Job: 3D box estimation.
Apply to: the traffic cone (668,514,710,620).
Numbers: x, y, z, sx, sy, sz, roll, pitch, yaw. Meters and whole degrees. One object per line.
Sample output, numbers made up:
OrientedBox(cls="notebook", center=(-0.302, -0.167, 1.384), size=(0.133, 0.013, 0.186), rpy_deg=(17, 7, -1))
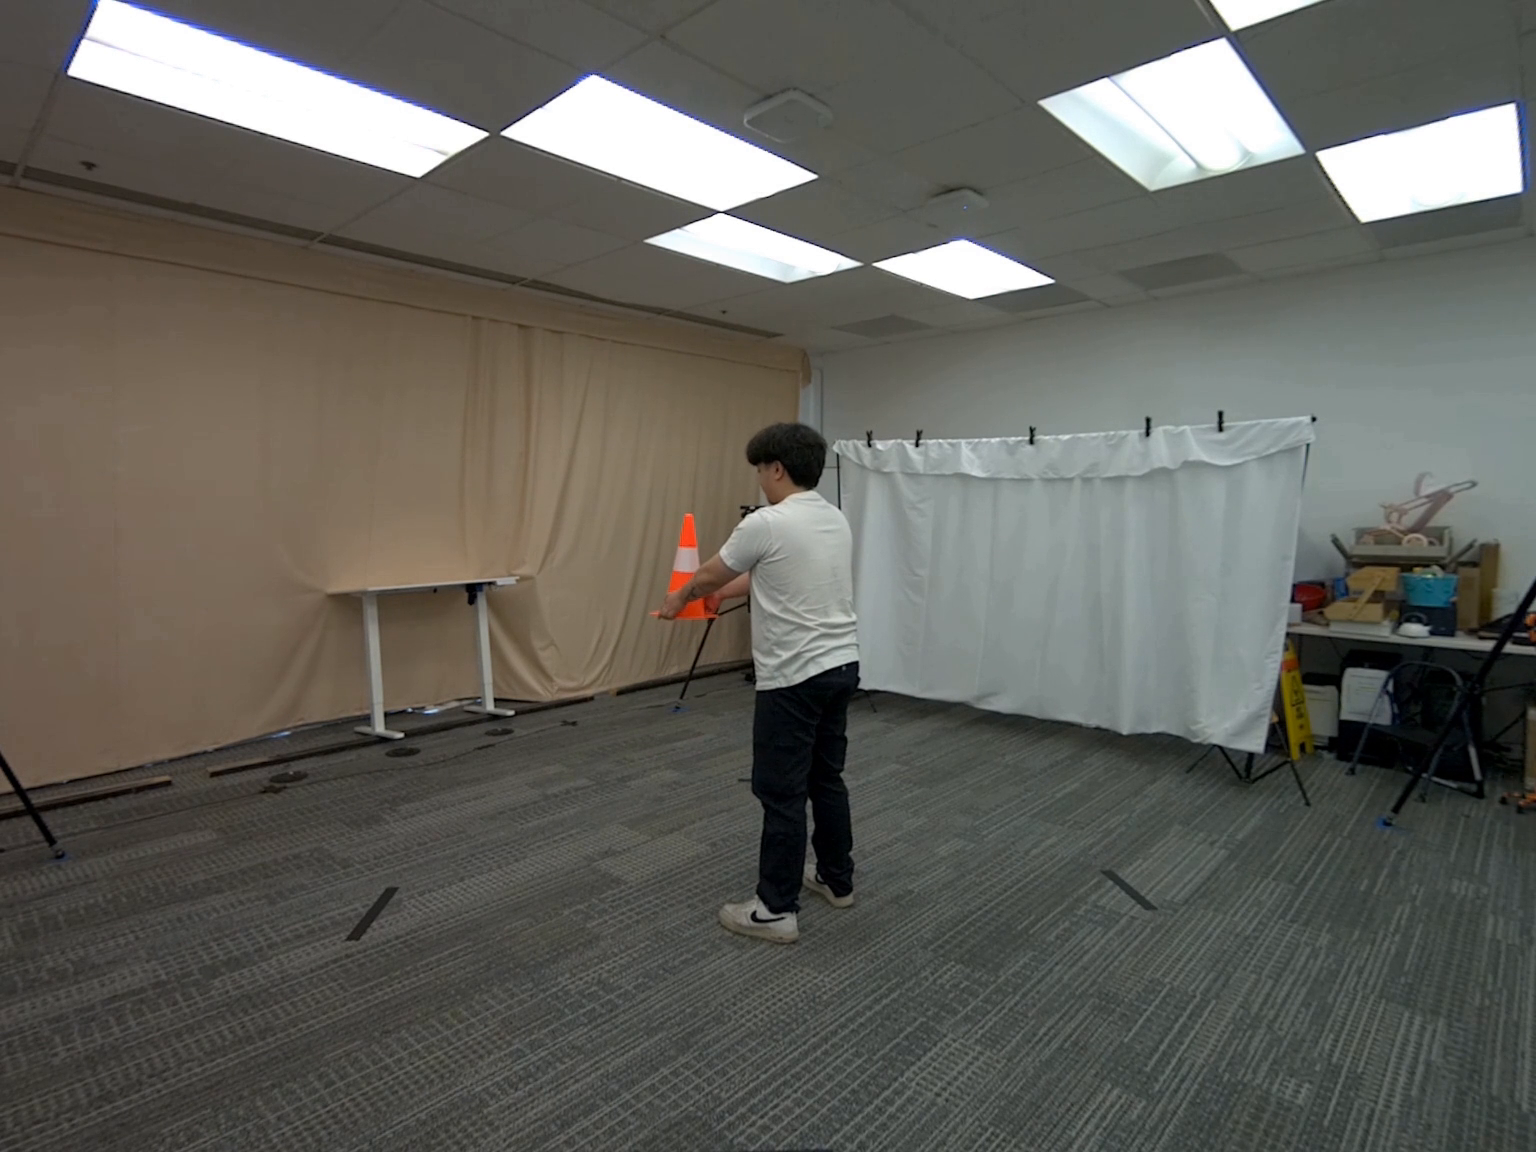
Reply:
OrientedBox(cls="traffic cone", center=(-0.312, -0.046, 3.197), size=(0.209, 0.382, 0.200), rpy_deg=(6, 7, 27))
